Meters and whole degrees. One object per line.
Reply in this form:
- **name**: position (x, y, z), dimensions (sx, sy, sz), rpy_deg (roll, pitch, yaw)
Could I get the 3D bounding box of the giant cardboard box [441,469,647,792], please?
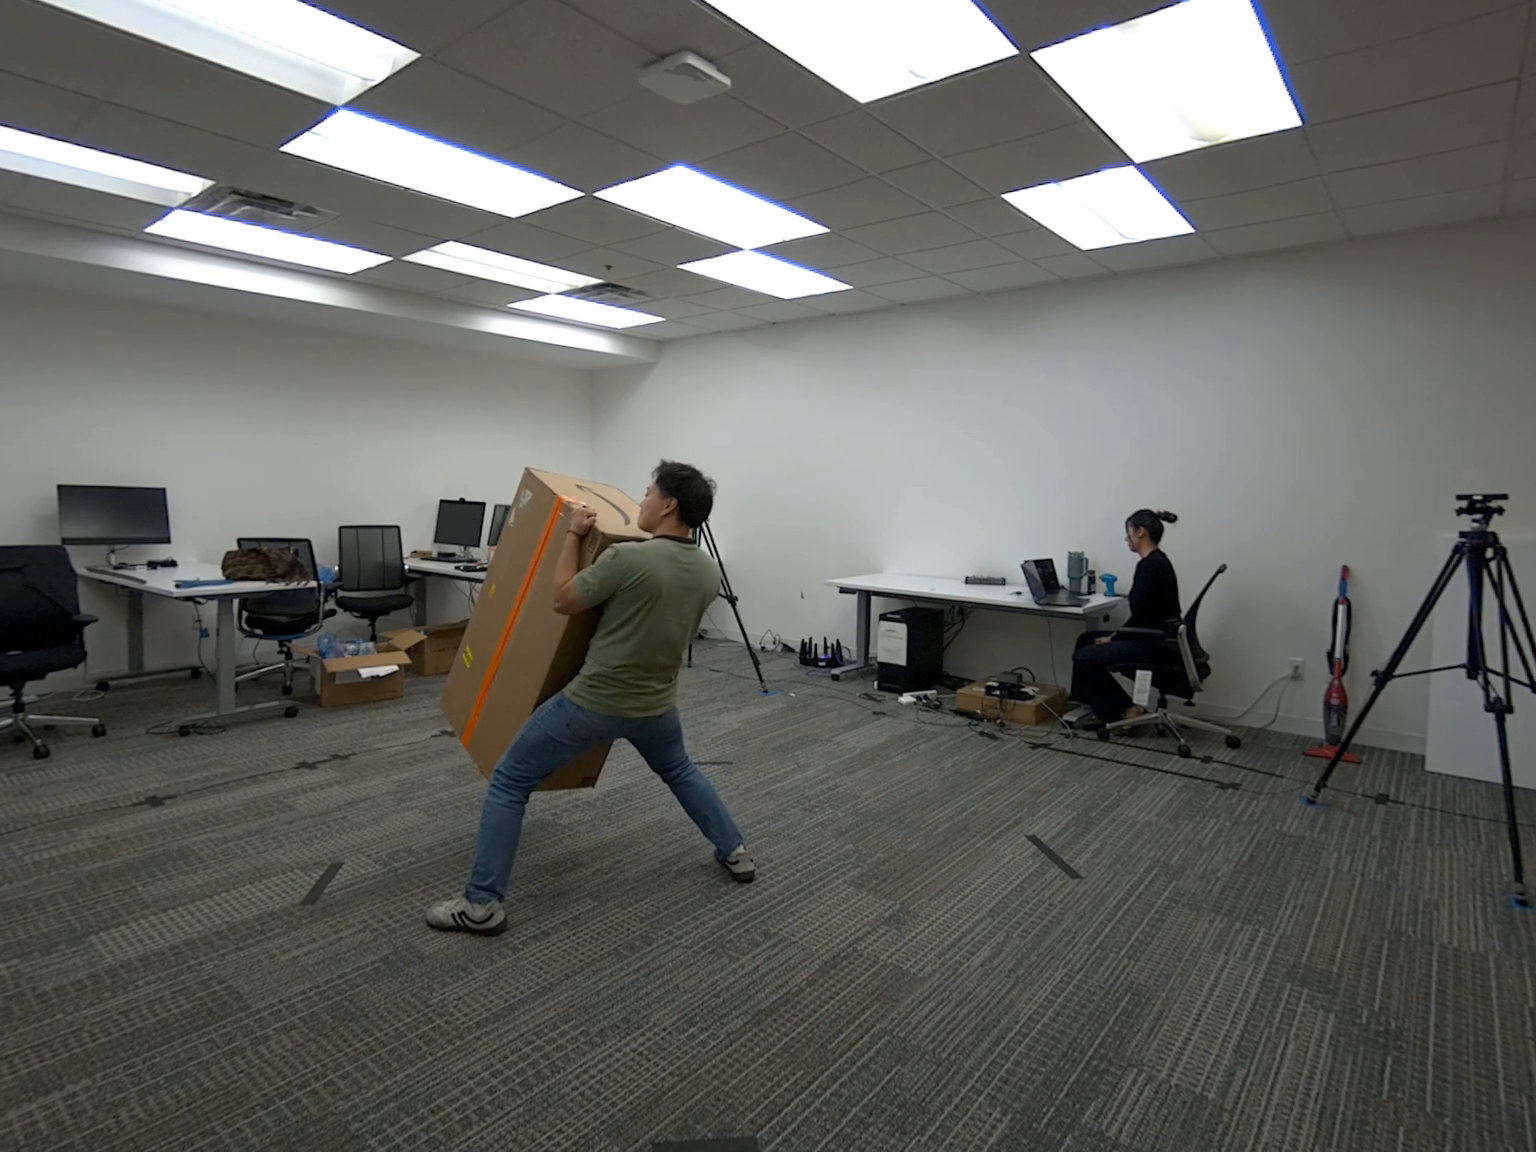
- **giant cardboard box**: position (-0.786, 0.193, 3.178), dimensions (0.411, 1.020, 0.602), rpy_deg (10, 18, -46)
